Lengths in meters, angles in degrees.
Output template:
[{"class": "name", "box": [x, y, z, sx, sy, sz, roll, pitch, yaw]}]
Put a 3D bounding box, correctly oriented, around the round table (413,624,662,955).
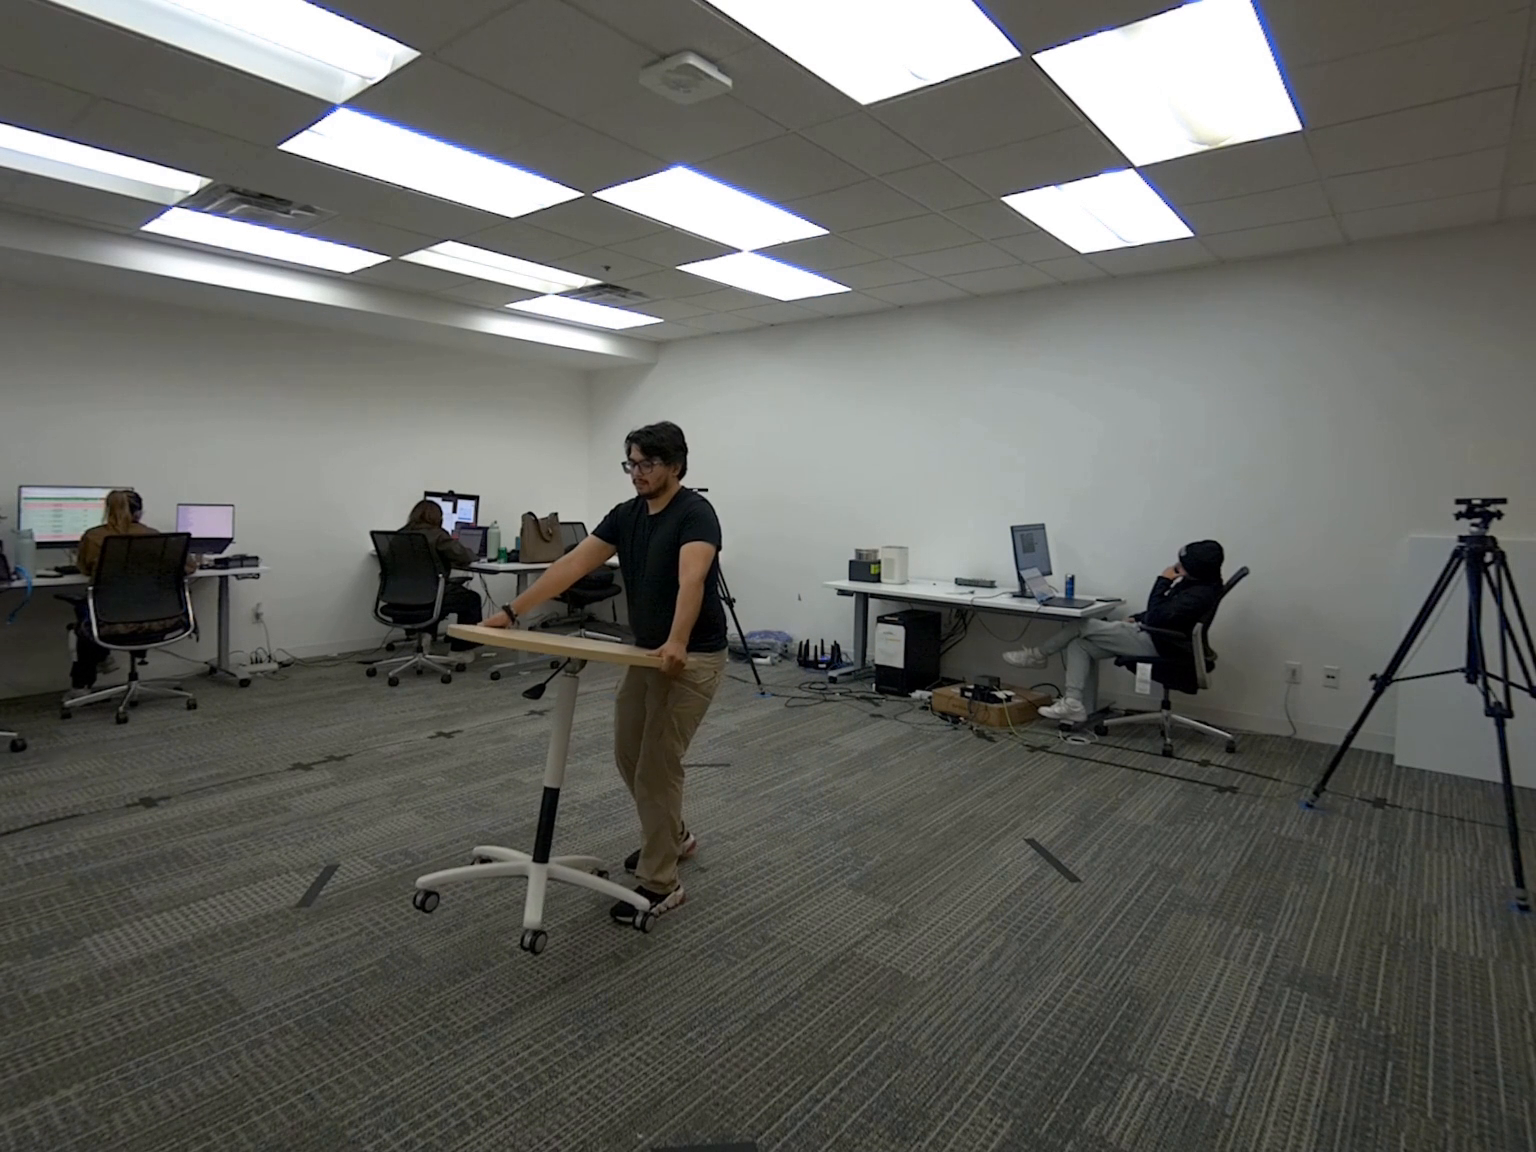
[{"class": "round table", "box": [-0.649, 0.602, 2.584, 0.785, 0.790, 0.782, 8, -5, -1]}]
